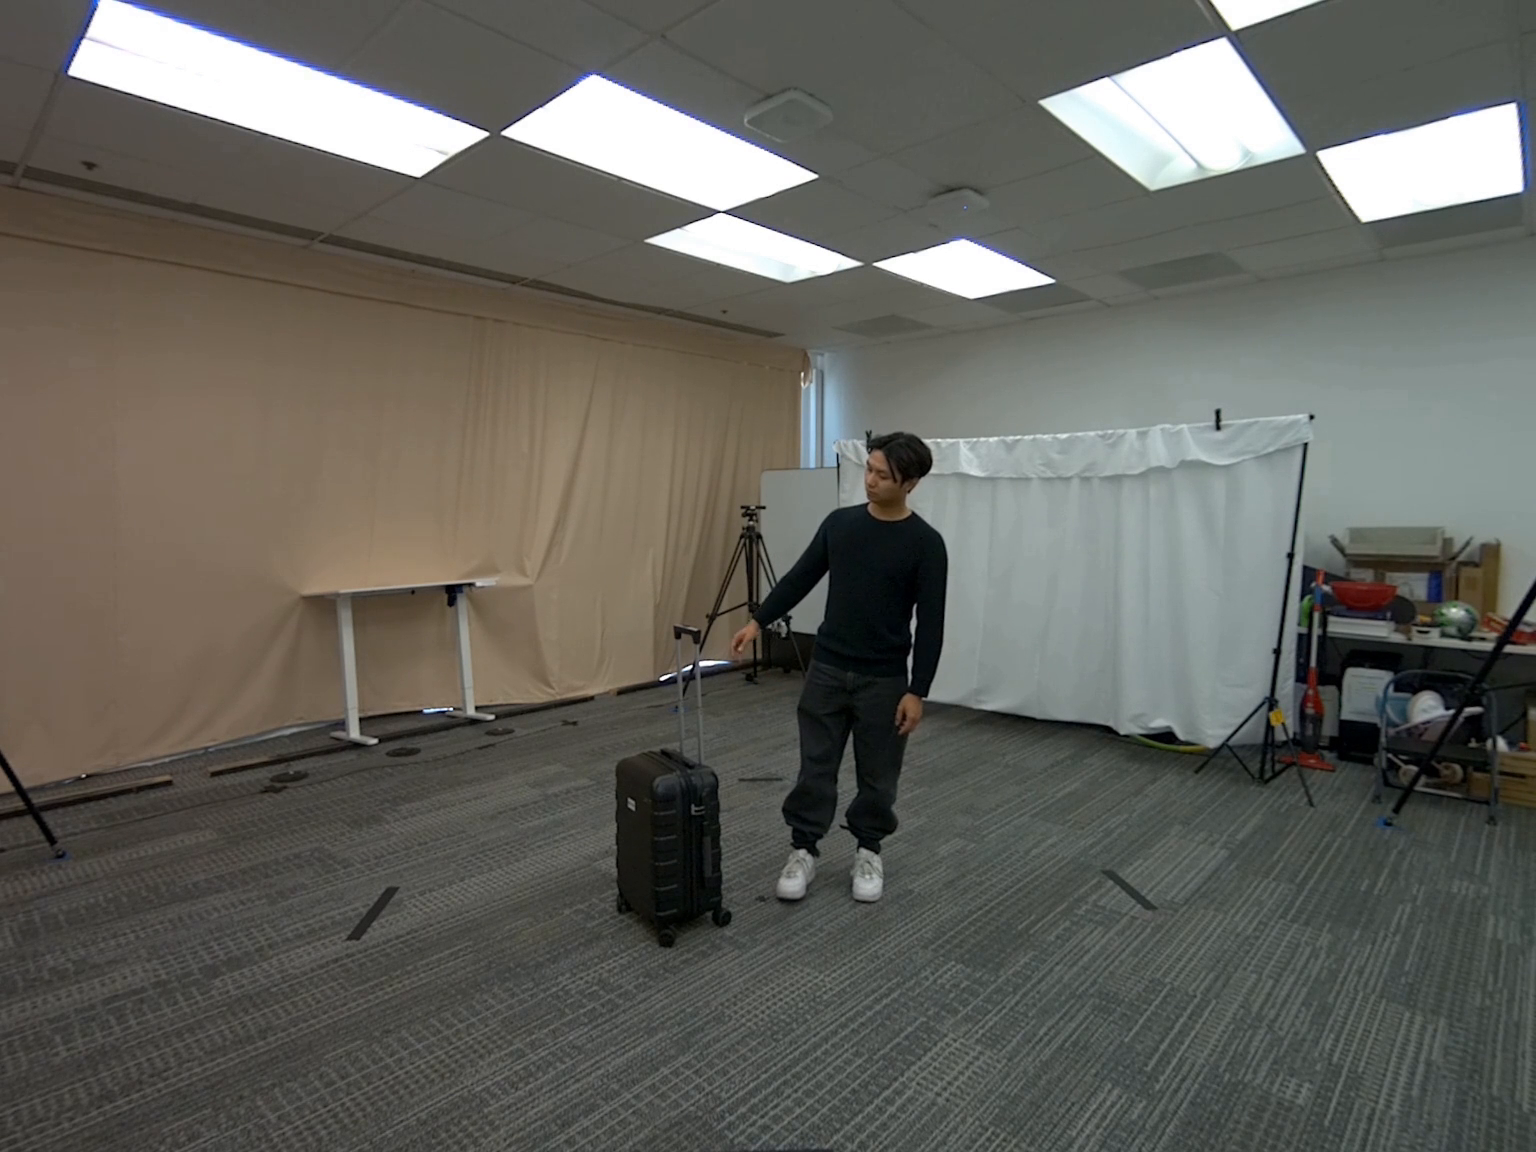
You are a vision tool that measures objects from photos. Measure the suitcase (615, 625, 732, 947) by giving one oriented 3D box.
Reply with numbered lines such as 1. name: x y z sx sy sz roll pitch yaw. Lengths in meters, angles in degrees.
1. suitcase: -0.346 0.682 2.823 0.250 0.976 0.395 -4 4 -34
